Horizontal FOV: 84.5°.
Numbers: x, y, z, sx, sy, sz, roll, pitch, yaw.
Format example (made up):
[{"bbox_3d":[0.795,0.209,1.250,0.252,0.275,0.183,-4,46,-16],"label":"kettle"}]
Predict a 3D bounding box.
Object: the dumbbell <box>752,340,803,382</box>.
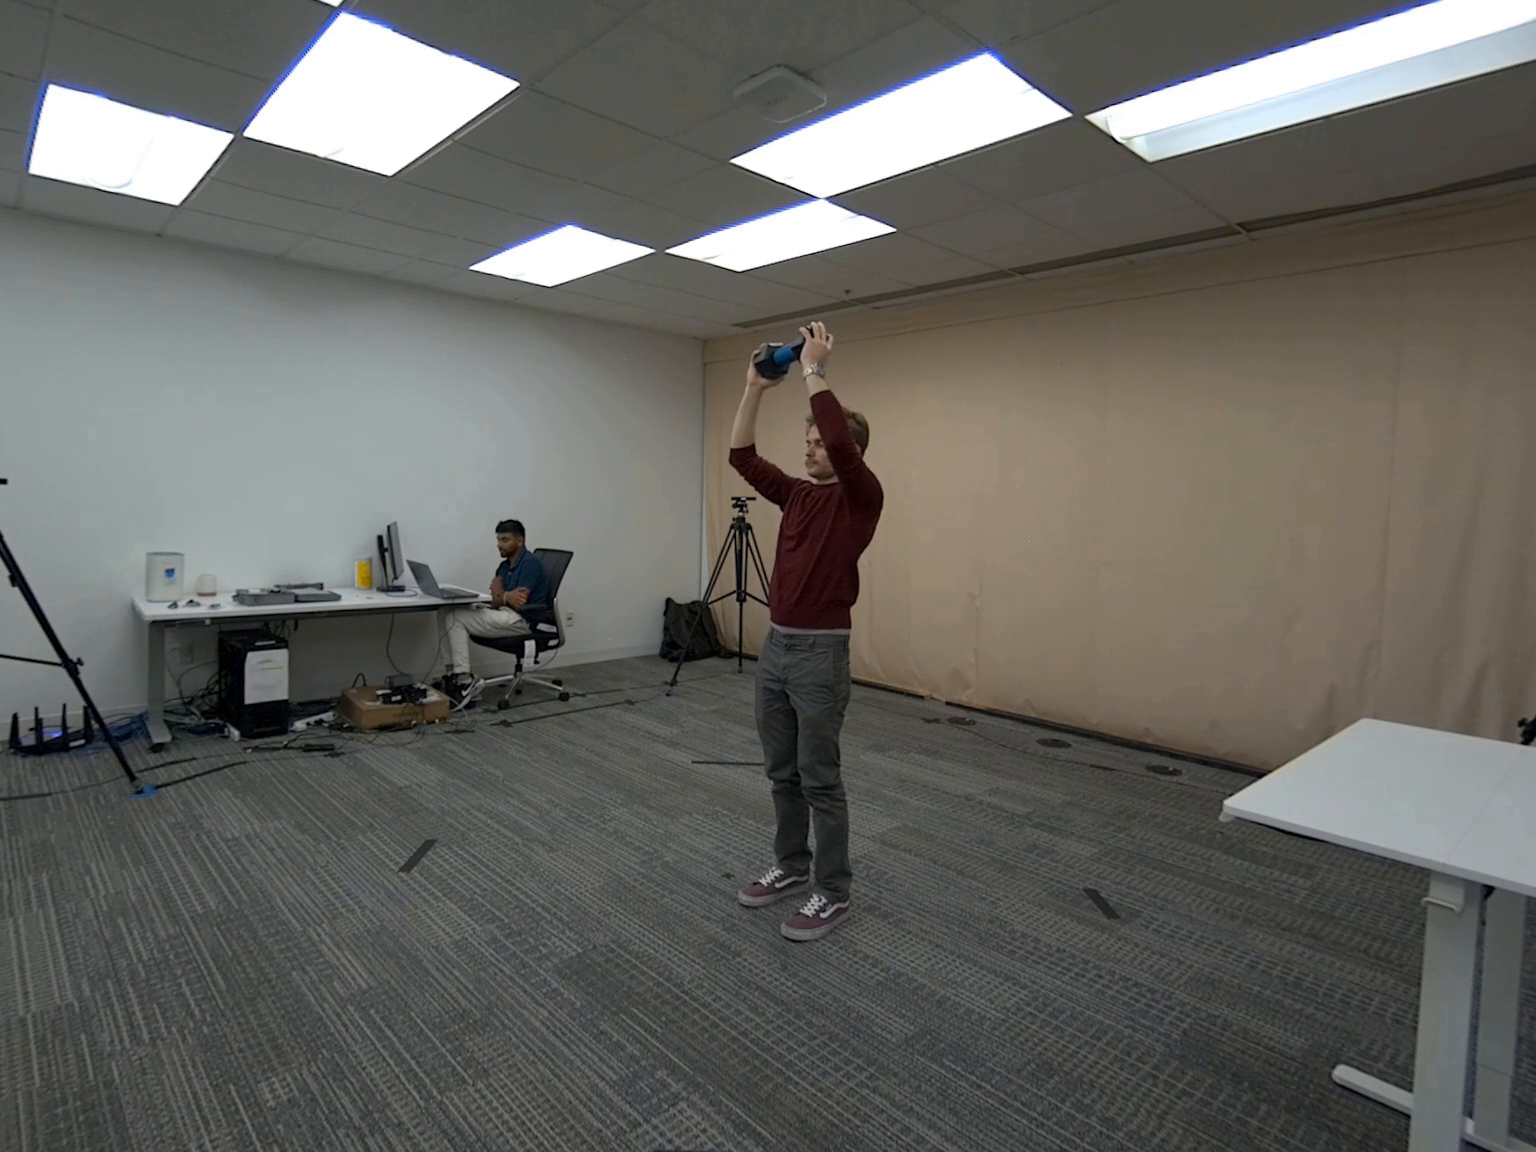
[{"bbox_3d":[0.072,-0.737,2.791,0.106,0.124,0.299,25,-16,-32],"label":"dumbbell"}]
